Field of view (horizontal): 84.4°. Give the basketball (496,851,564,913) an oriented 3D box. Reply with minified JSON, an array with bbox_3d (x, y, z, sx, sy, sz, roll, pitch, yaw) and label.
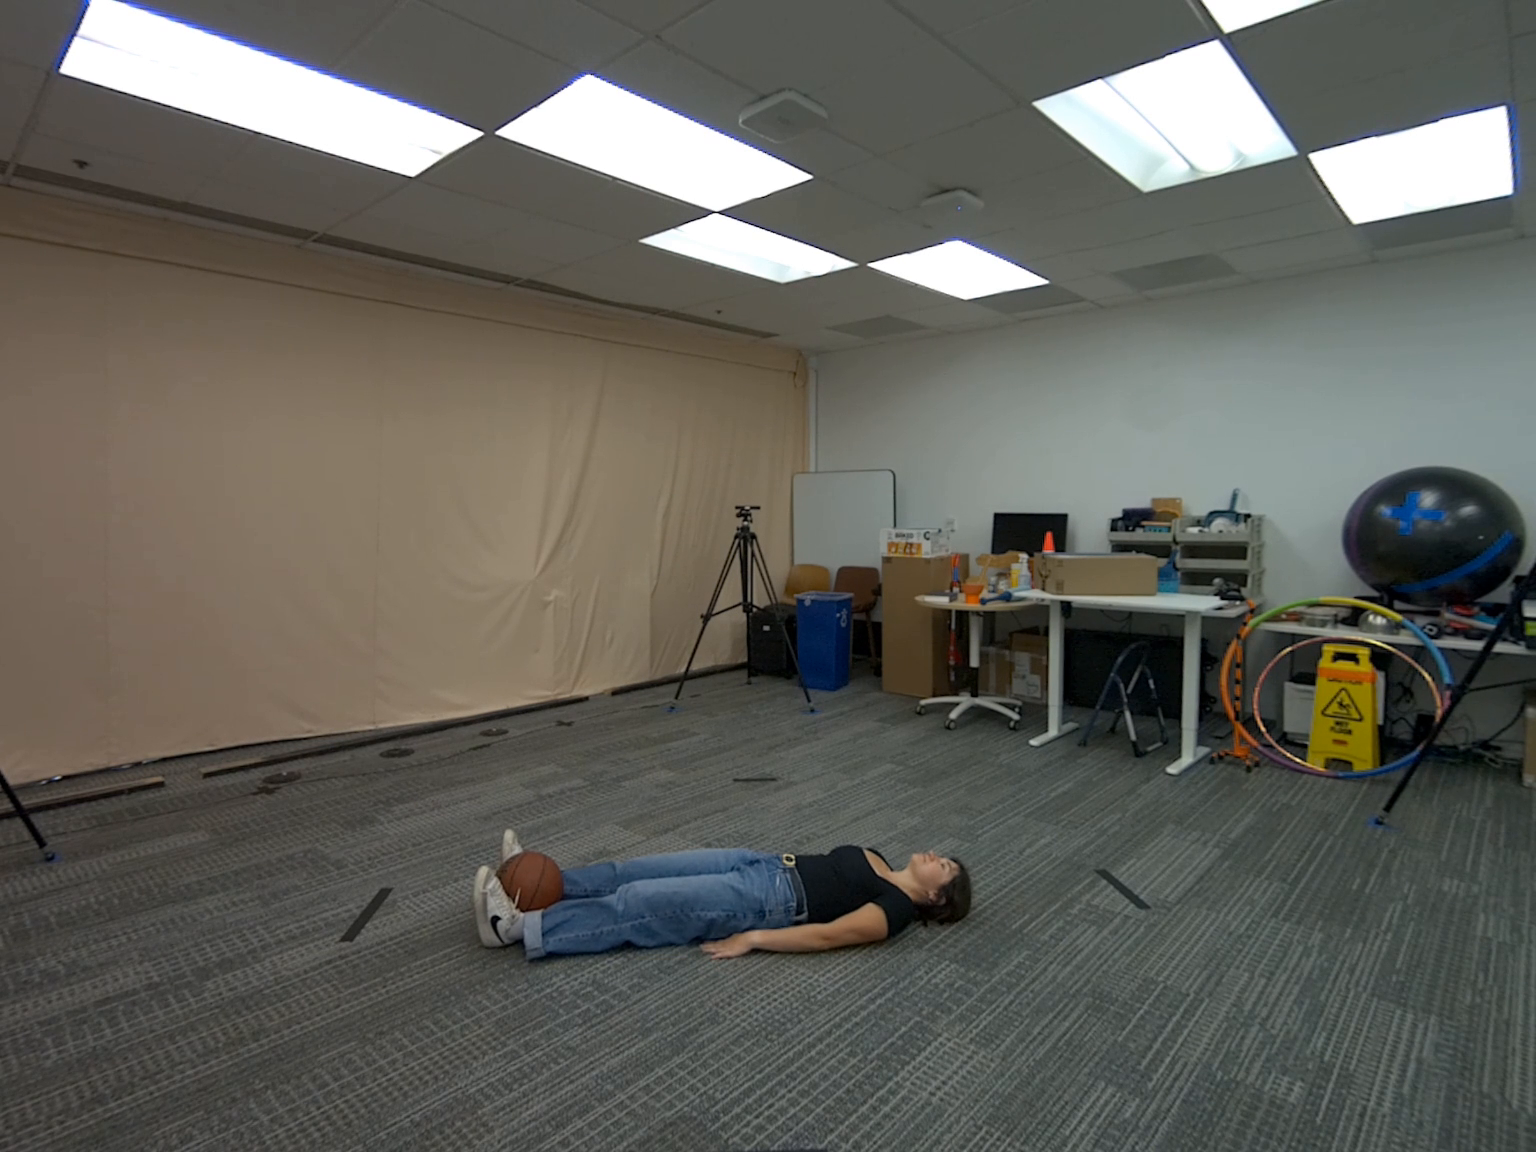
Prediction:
[{"bbox_3d":[-0.800,1.043,2.799,0.236,0.235,0.237,0,4,-2],"label":"basketball"}]
